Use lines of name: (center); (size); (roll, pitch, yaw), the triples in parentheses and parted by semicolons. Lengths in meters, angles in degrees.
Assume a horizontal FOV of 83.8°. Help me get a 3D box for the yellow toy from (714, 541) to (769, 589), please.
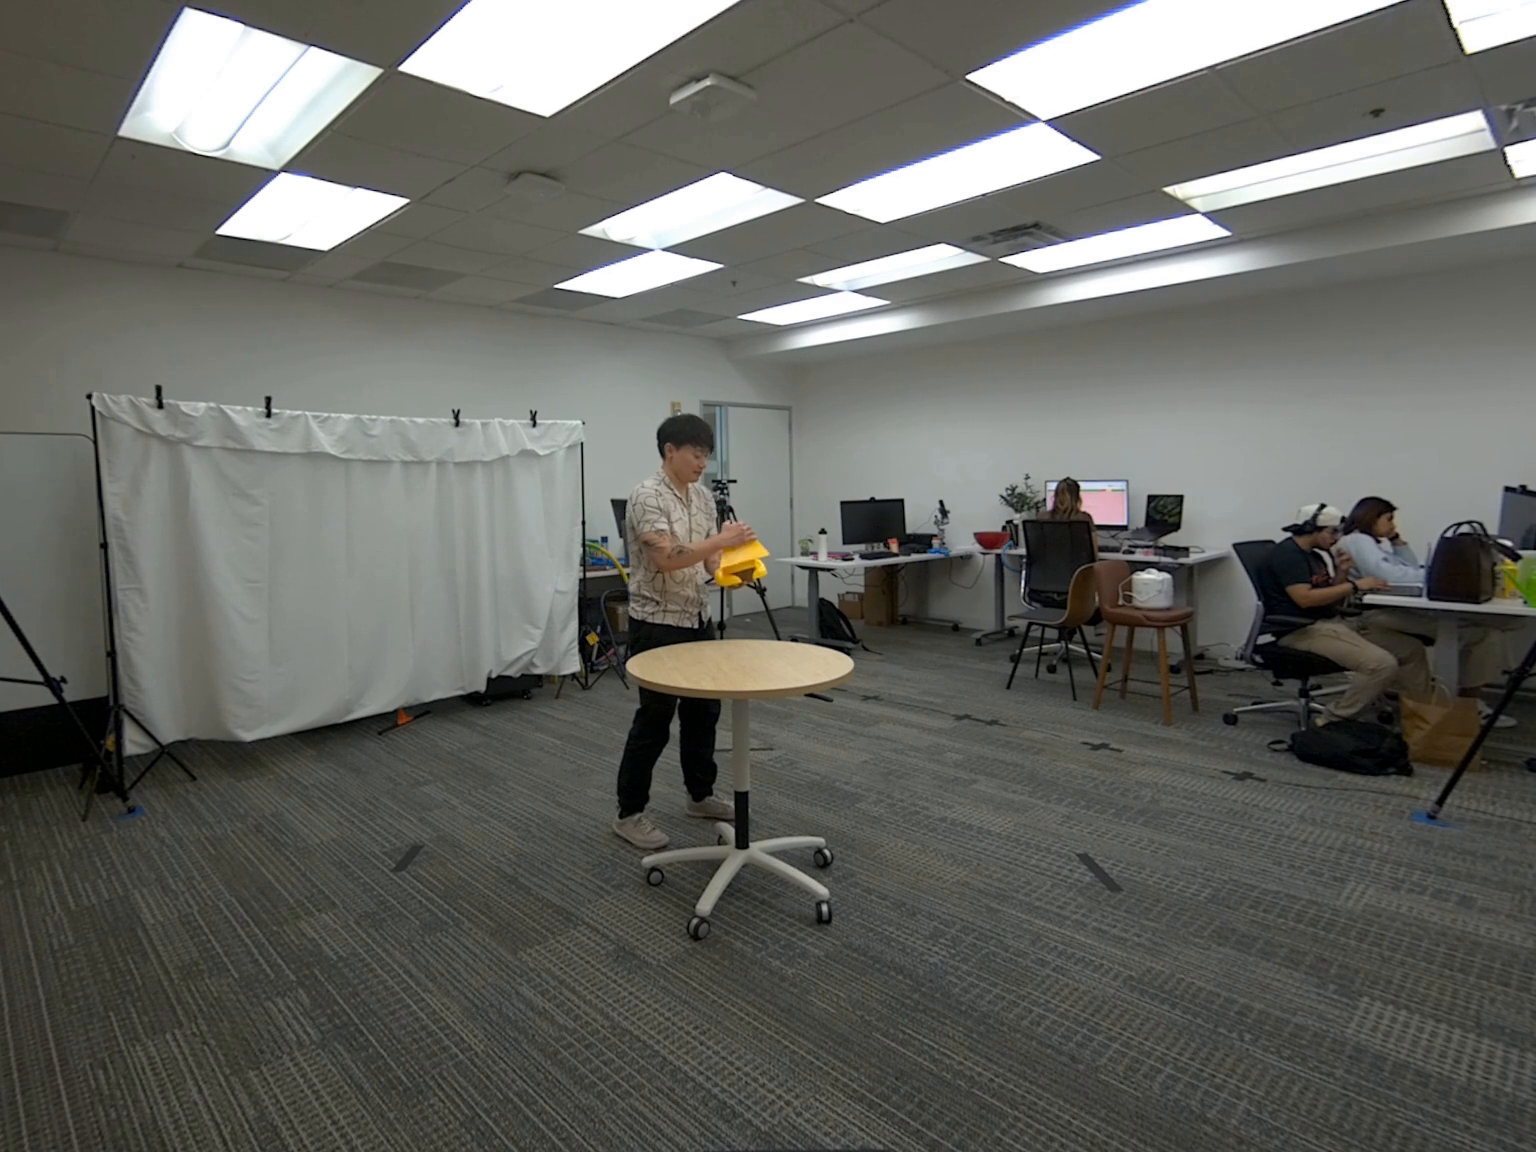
yellow toy: (-0.127, -0.098, 3.283); (0.202, 0.228, 0.197); (-15, 10, -18)
